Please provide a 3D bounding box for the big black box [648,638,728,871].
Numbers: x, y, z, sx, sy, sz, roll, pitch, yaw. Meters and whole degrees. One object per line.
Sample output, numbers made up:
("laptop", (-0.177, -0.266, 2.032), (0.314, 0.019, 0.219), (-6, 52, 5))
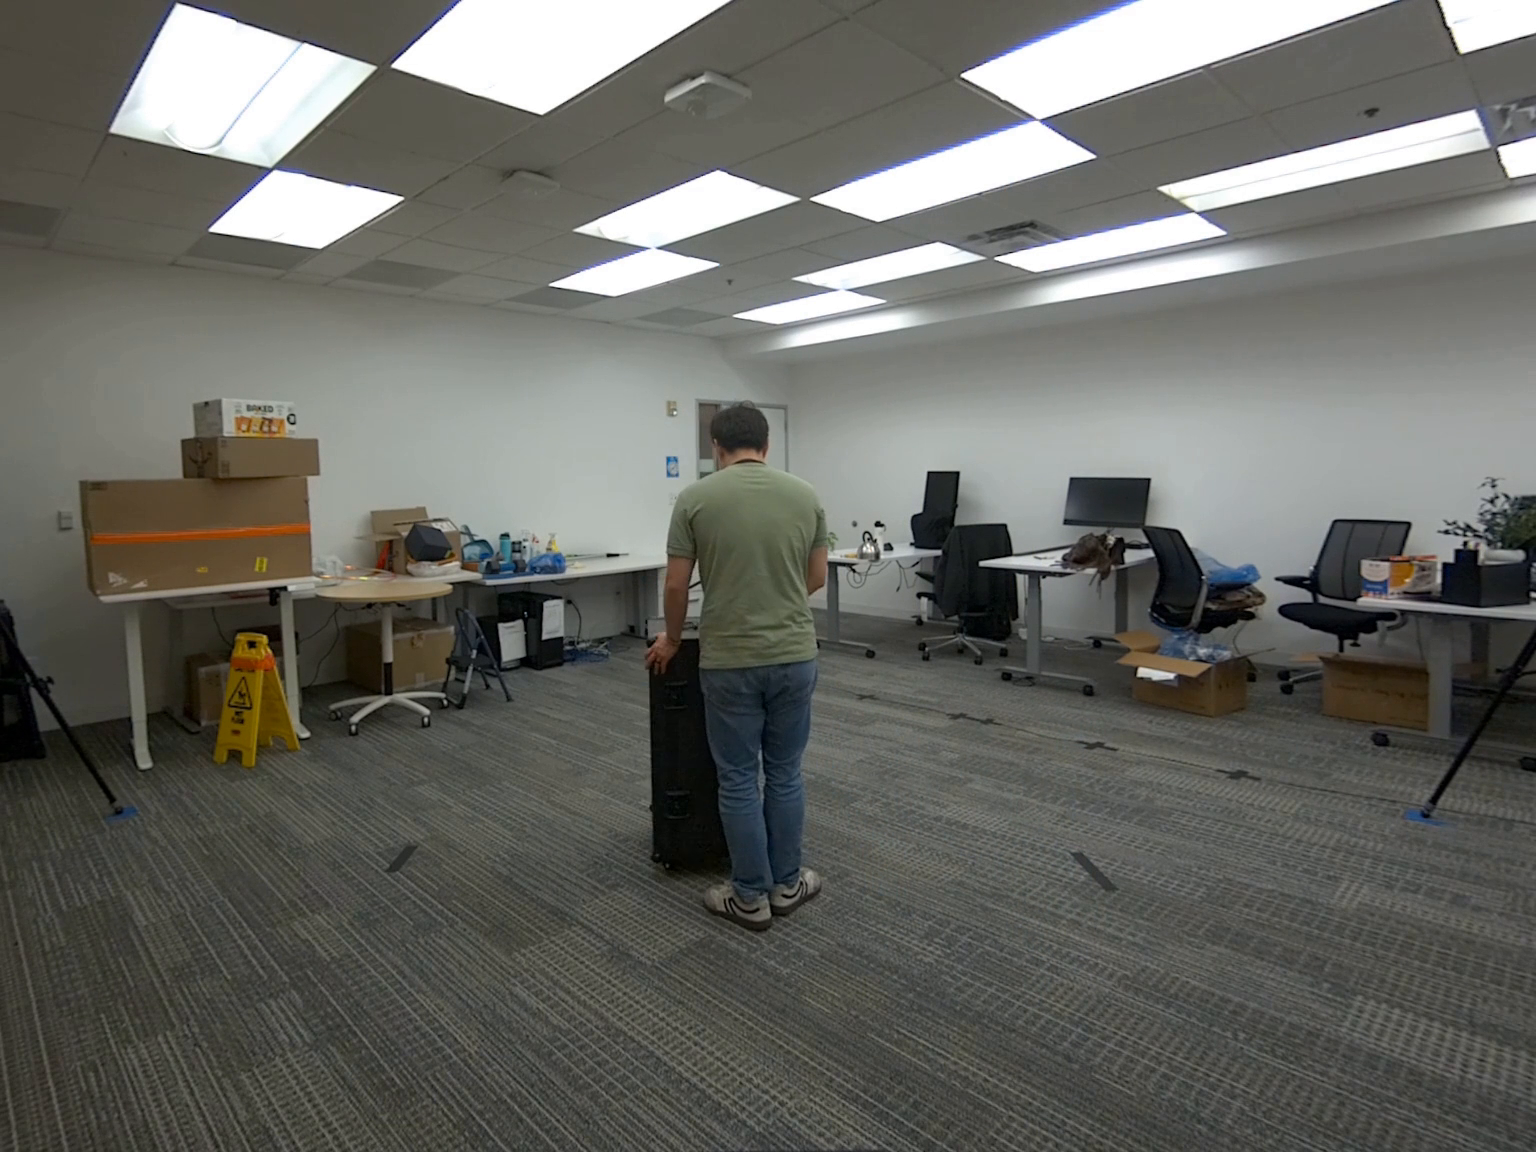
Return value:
("big black box", (-0.253, 0.612, 3.208), (0.394, 0.859, 0.526), (-1, 3, -7))
